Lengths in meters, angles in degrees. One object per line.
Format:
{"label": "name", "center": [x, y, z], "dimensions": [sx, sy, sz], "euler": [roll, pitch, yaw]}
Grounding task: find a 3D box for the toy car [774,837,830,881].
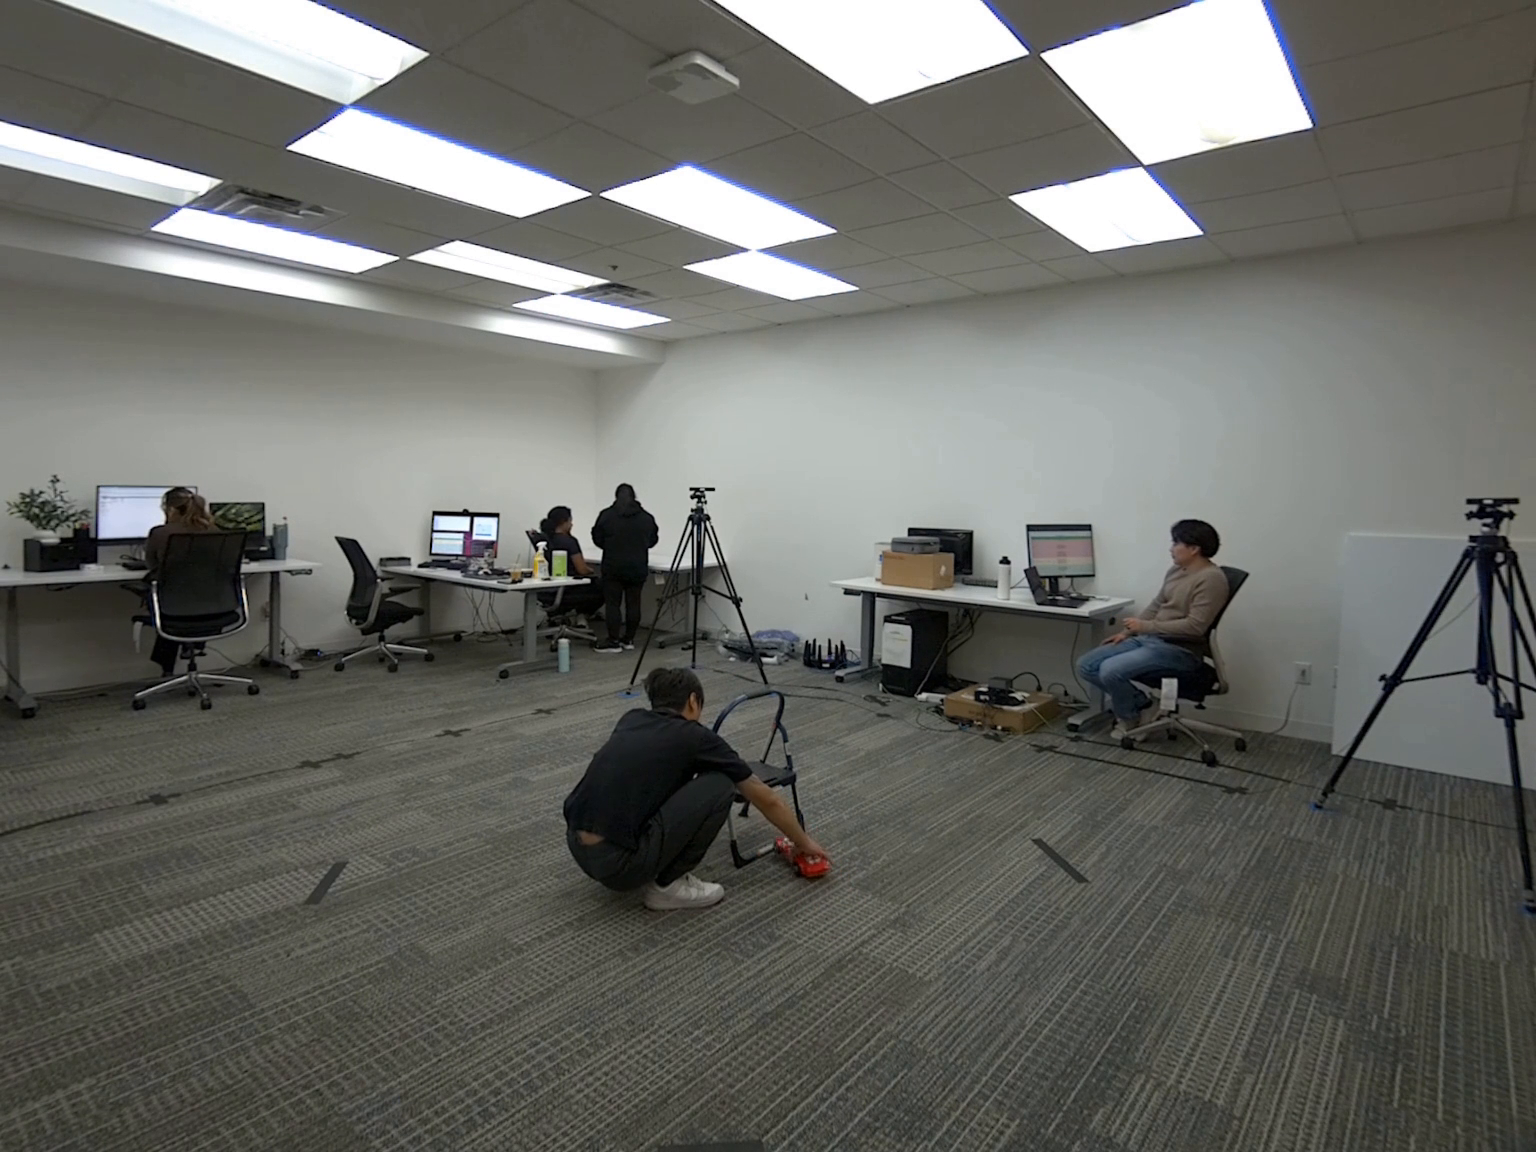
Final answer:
{"label": "toy car", "center": [0.115, 1.034, 3.130], "dimensions": [0.127, 0.082, 0.263], "euler": [-4, 9, -29]}
